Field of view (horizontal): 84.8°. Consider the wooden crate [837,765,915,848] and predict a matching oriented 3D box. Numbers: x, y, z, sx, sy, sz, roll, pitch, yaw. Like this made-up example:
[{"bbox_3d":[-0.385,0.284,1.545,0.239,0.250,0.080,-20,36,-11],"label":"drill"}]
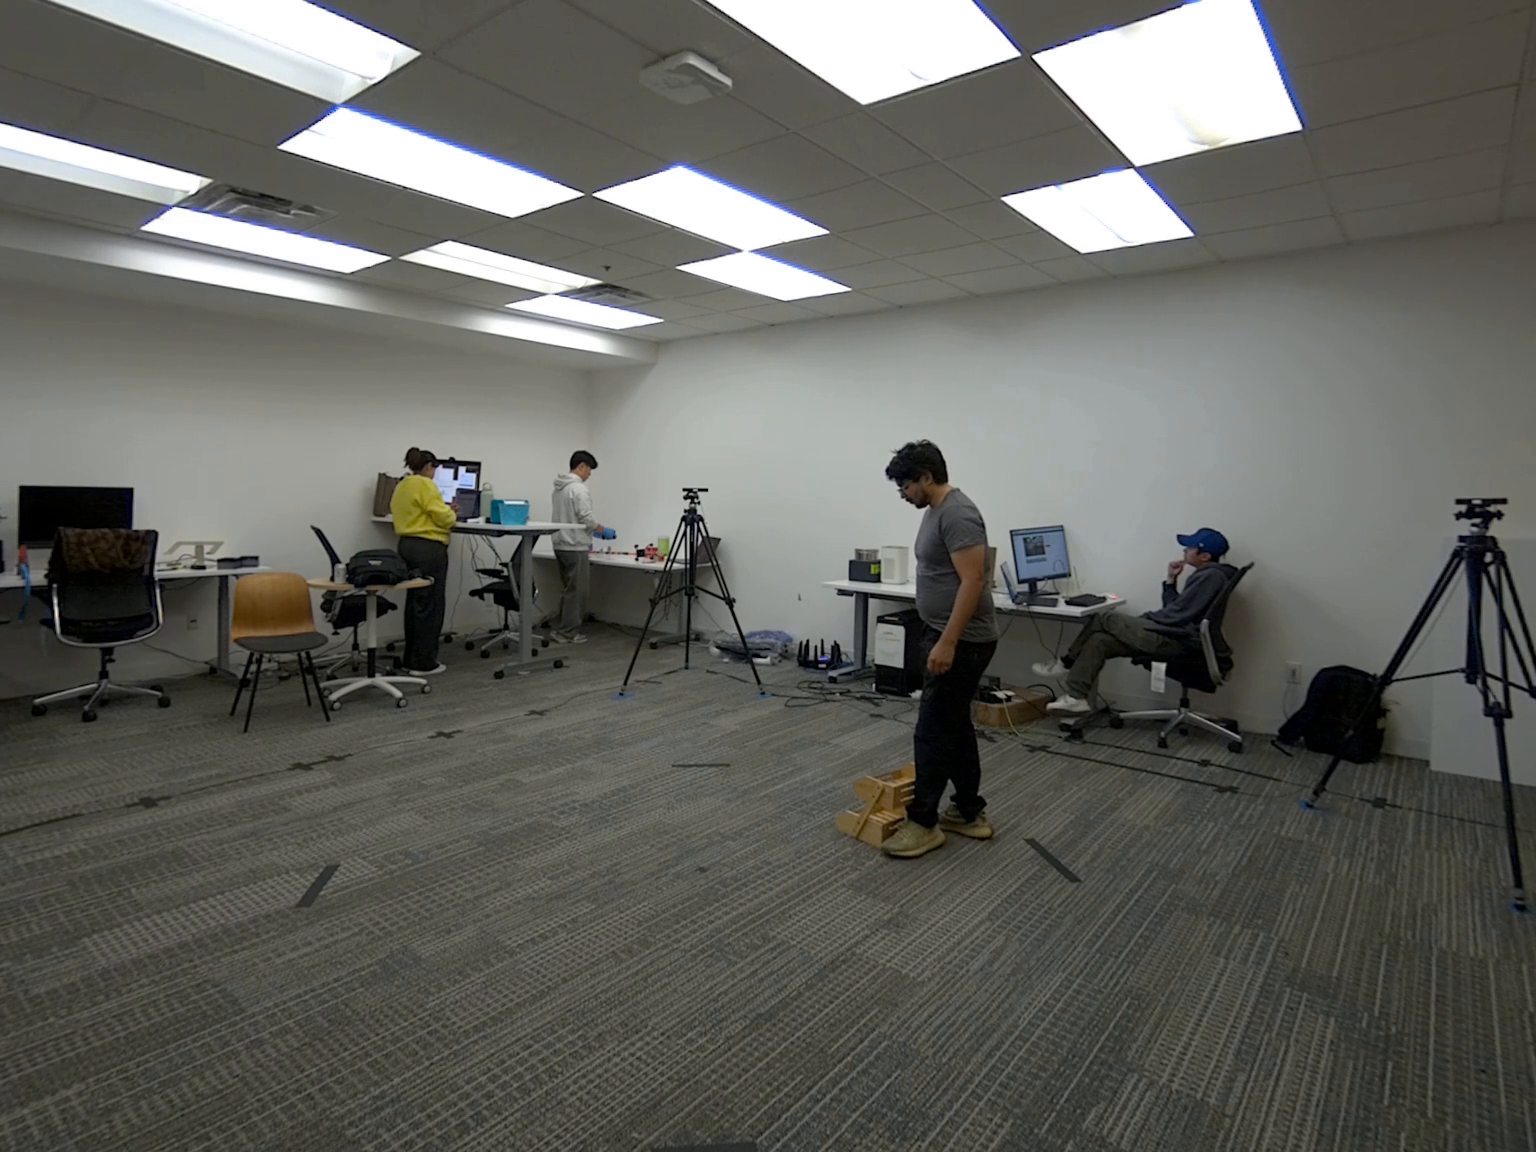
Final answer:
[{"bbox_3d":[0.479,0.914,3.501,0.314,0.272,0.312,-2,6,-41],"label":"wooden crate"}]
